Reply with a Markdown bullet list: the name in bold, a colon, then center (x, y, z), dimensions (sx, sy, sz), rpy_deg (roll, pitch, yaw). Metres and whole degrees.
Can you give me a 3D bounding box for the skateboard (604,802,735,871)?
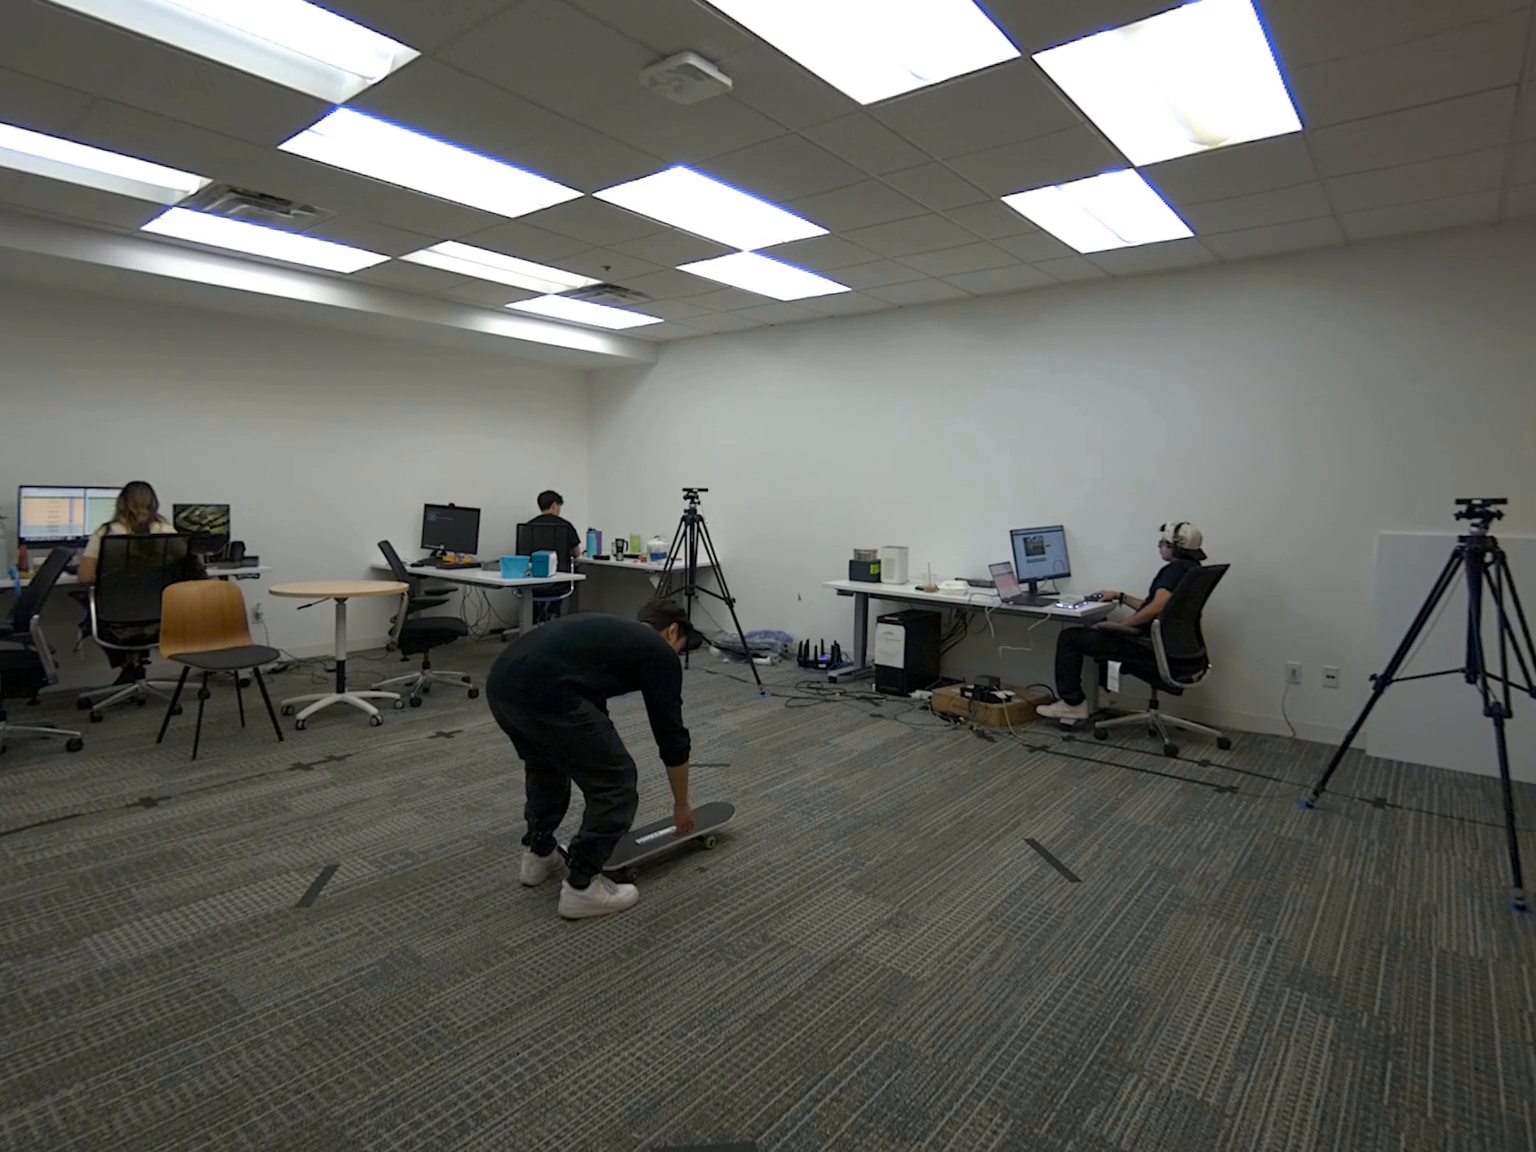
- **skateboard**: center (-0.422, 1.001, 3.205), dimensions (0.200, 0.110, 0.762), rpy_deg (6, 8, 42)
